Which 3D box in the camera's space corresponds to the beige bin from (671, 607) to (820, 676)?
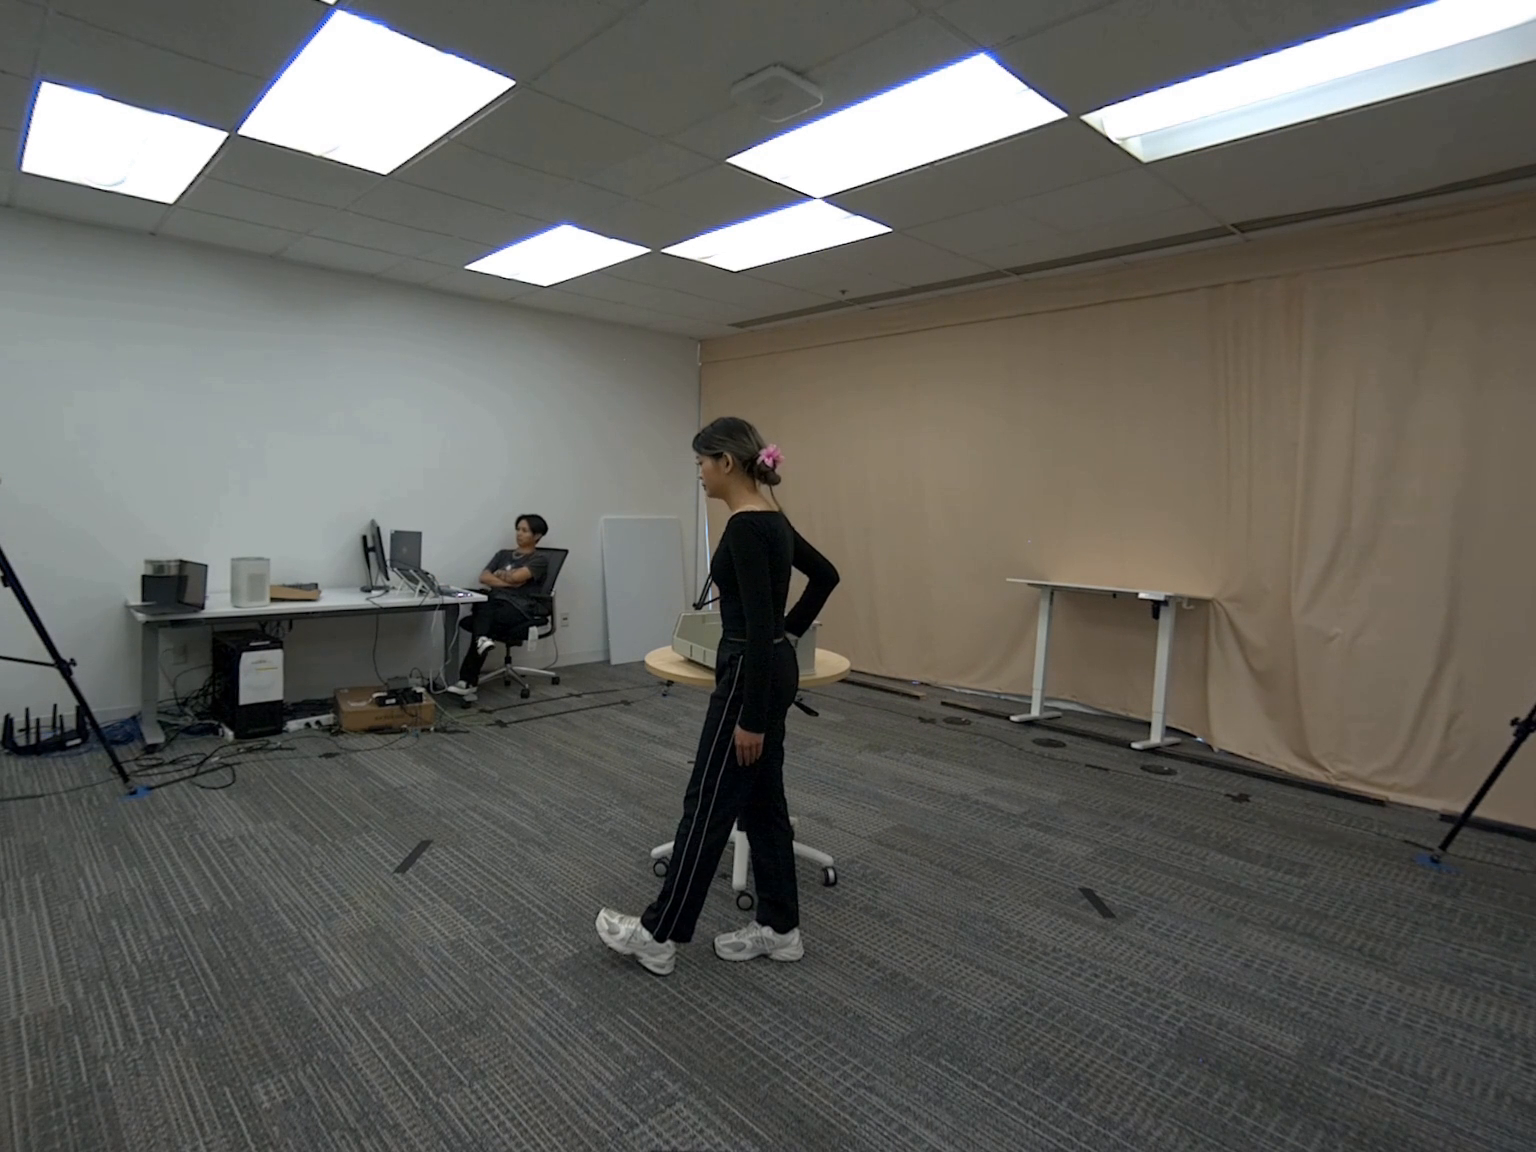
[{"bbox_3d":[-0.092,0.238,2.994,0.369,0.188,0.432,0,5,-31],"label":"beige bin"}]
